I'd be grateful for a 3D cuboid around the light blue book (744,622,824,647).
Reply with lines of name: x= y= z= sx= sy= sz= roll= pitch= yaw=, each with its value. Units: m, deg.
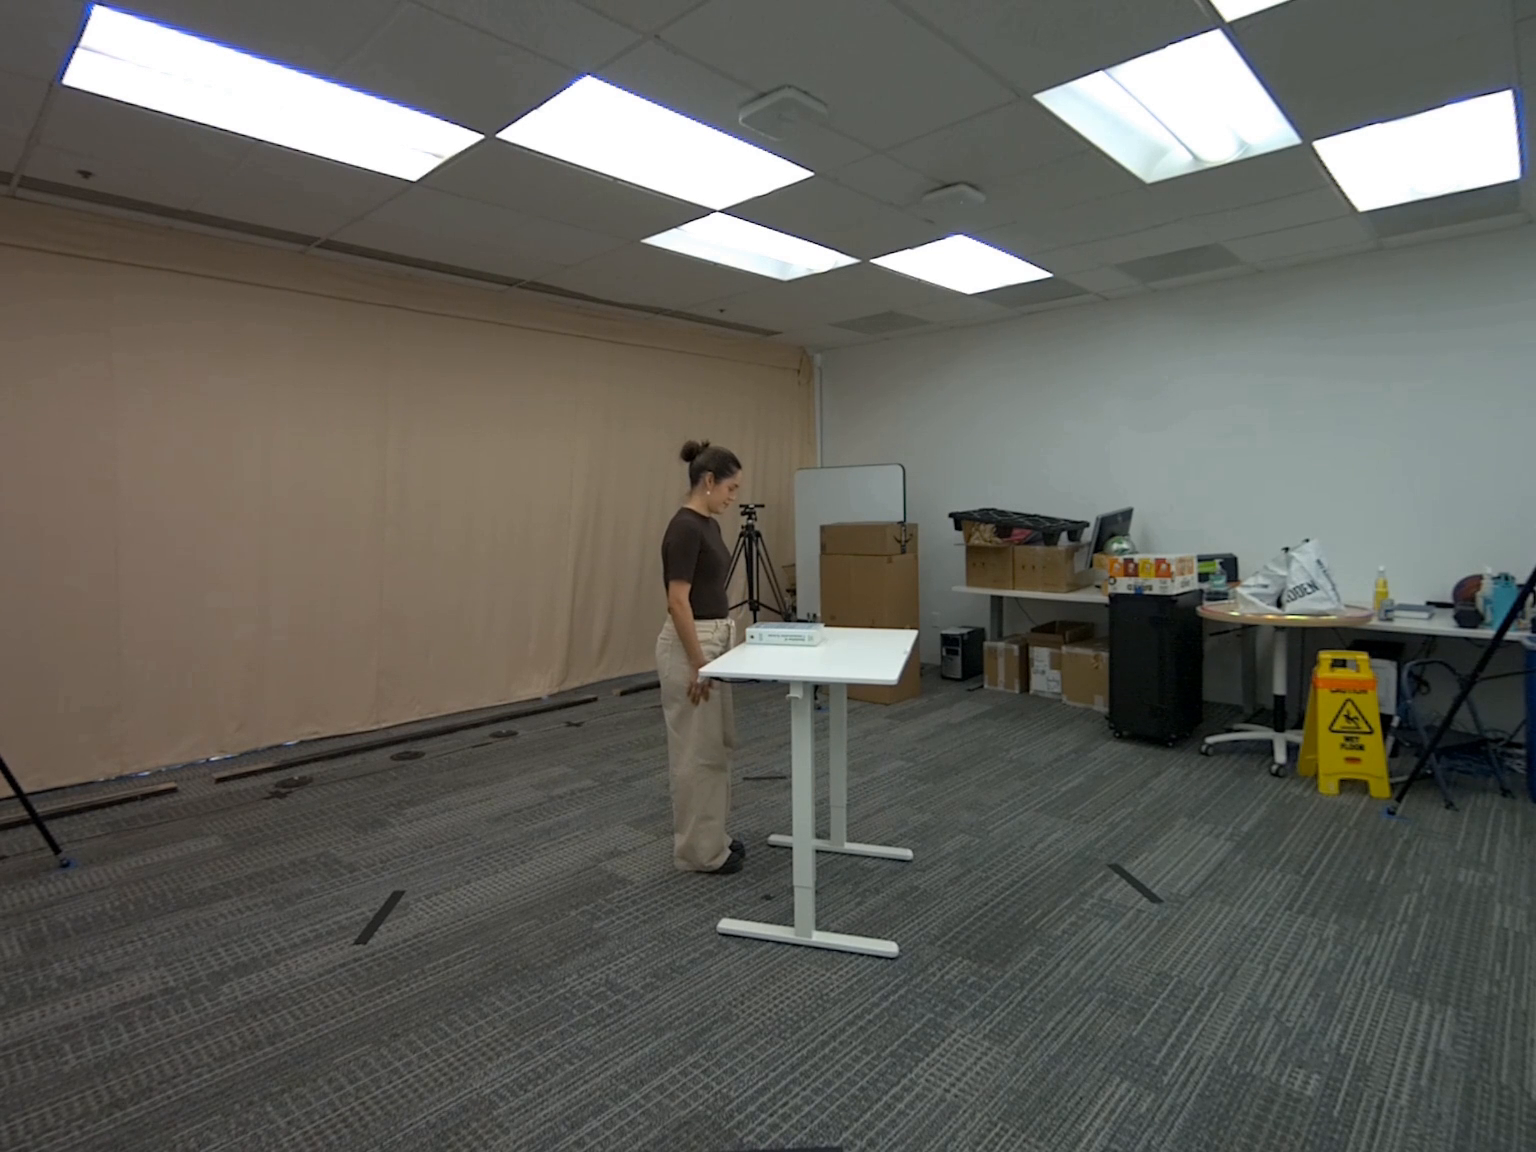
light blue book: x=0.072 y=0.213 z=3.135 sx=0.265 sy=0.059 sz=0.188 roll=0 pitch=4 yaw=16
